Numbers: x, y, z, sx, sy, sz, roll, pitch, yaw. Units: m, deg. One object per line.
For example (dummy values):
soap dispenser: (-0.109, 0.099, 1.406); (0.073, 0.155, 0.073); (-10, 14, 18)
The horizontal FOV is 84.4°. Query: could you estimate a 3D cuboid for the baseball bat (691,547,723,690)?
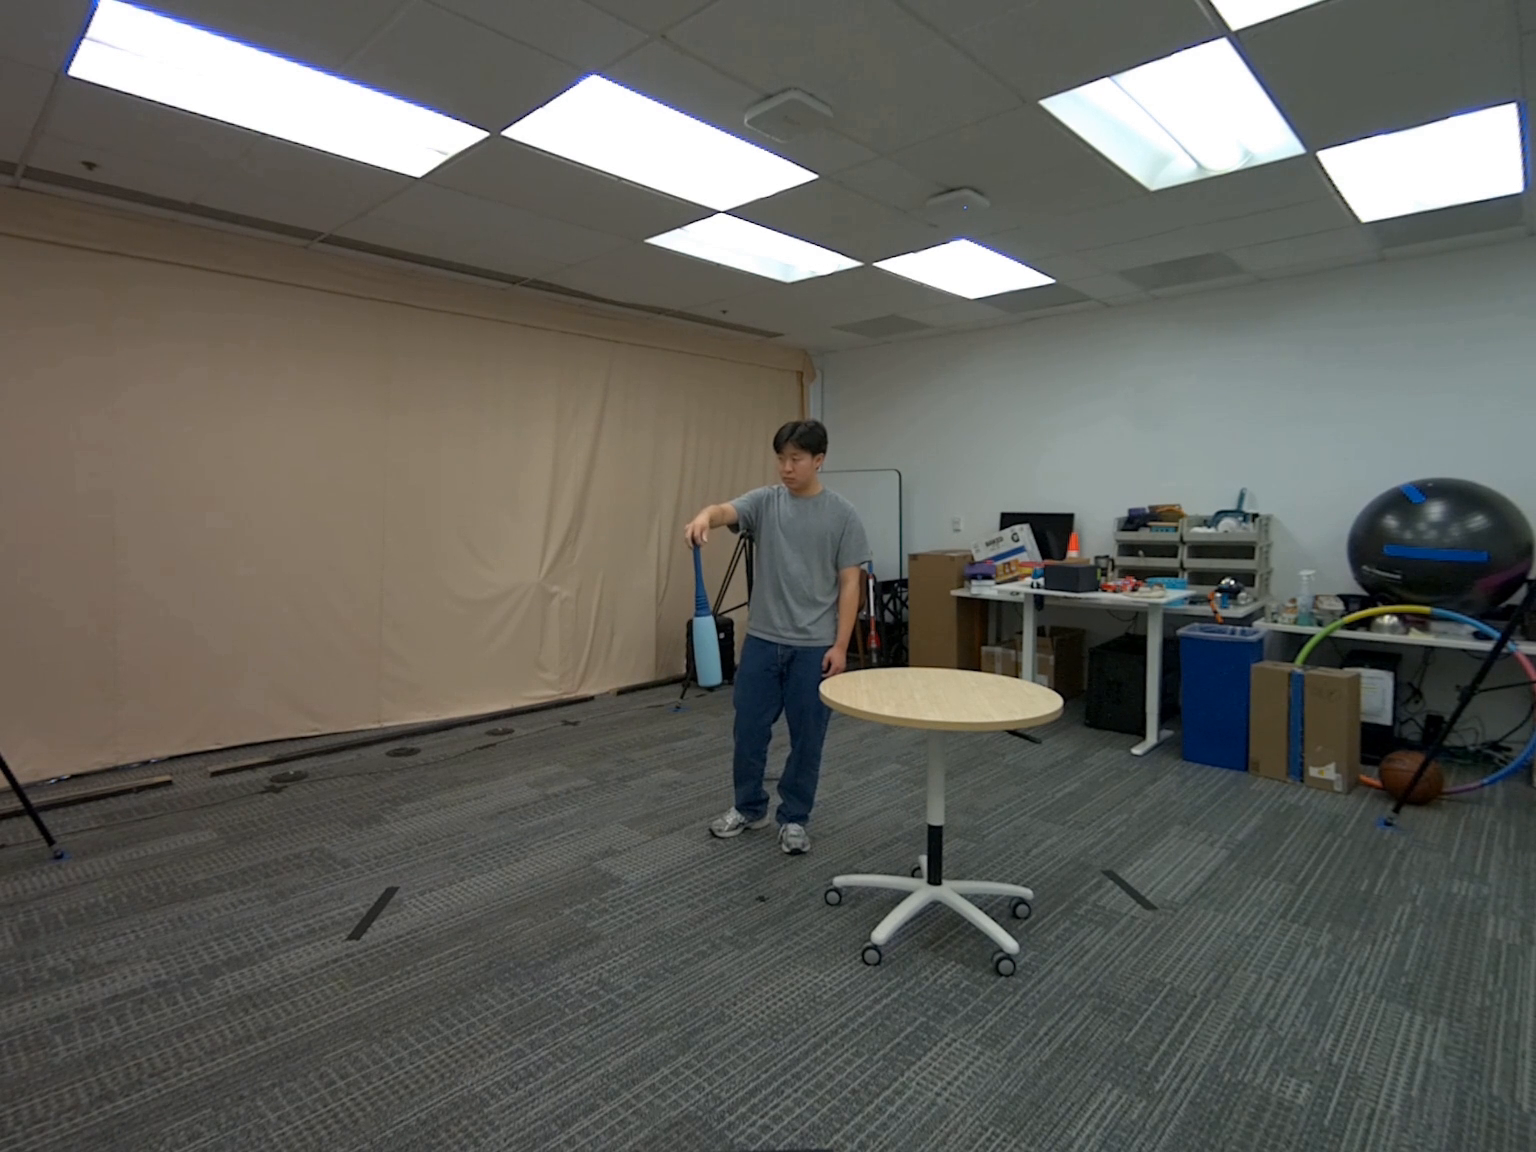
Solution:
baseball bat: (-0.232, 0.121, 3.010); (0.089, 0.541, 0.089); (-9, 3, -1)
